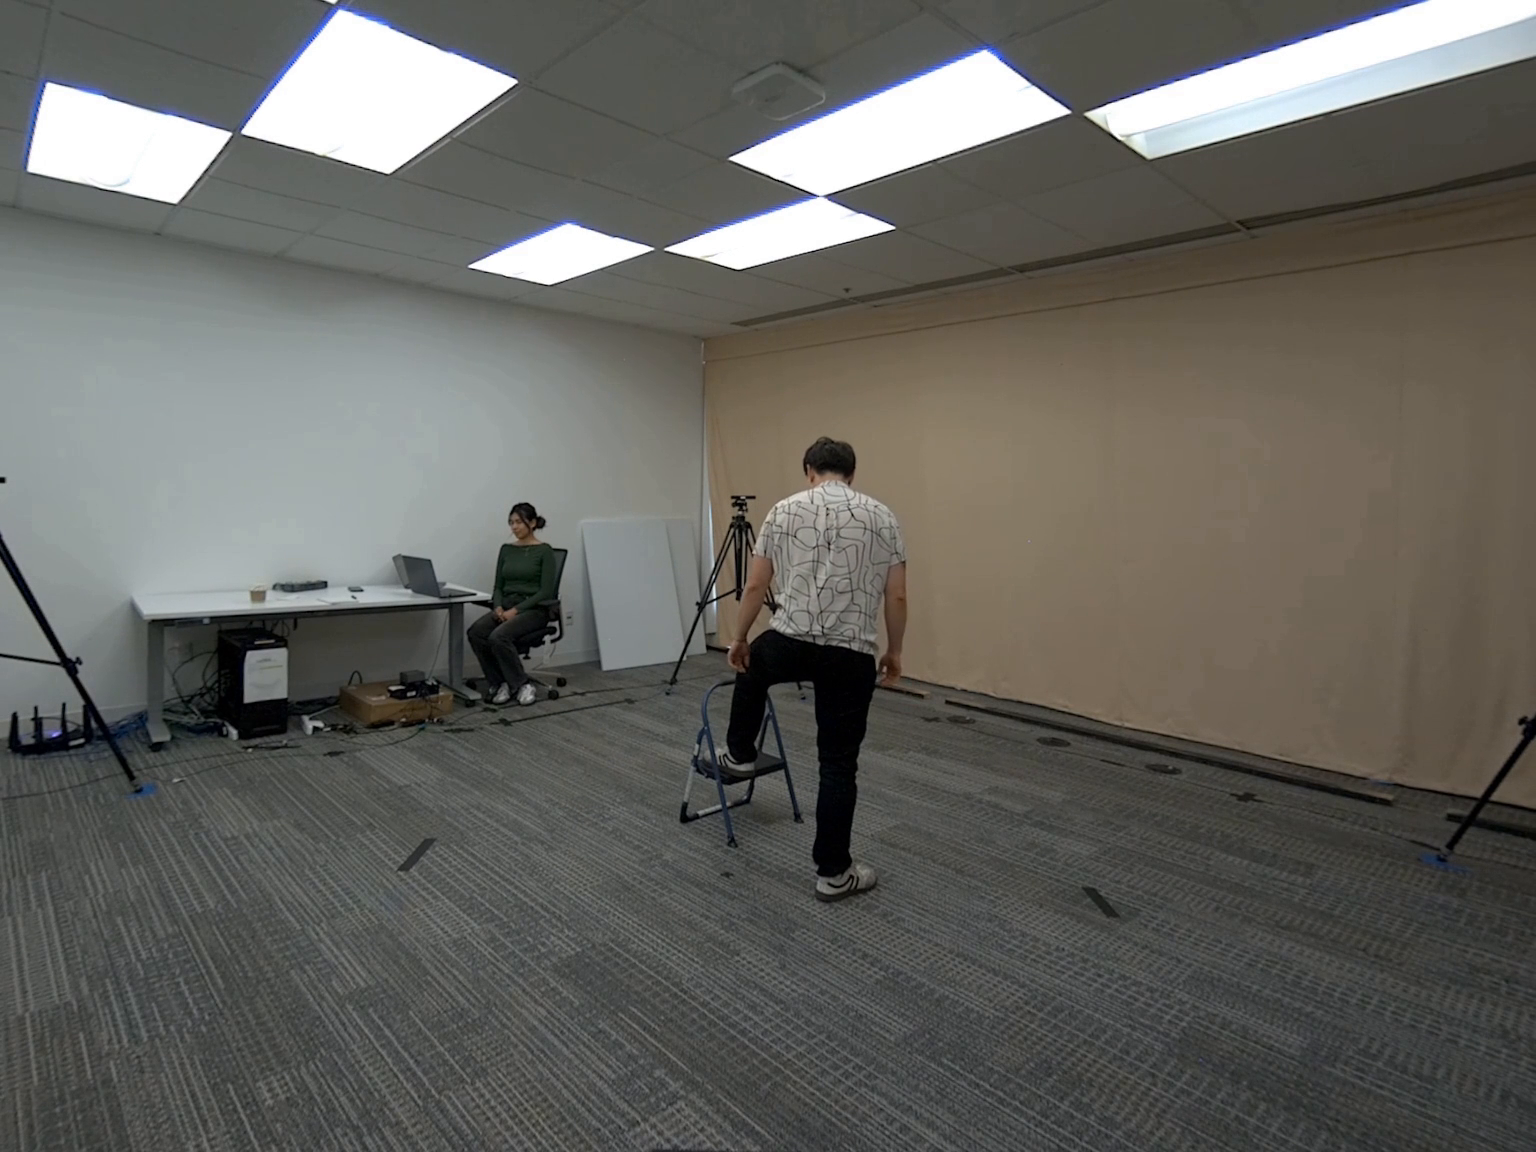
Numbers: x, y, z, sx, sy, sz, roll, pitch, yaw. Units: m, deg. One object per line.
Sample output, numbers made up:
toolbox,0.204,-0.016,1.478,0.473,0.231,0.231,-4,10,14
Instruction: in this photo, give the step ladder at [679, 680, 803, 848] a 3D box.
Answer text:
step ladder,-0.116,0.756,3.601,0.358,0.605,0.421,4,4,44
